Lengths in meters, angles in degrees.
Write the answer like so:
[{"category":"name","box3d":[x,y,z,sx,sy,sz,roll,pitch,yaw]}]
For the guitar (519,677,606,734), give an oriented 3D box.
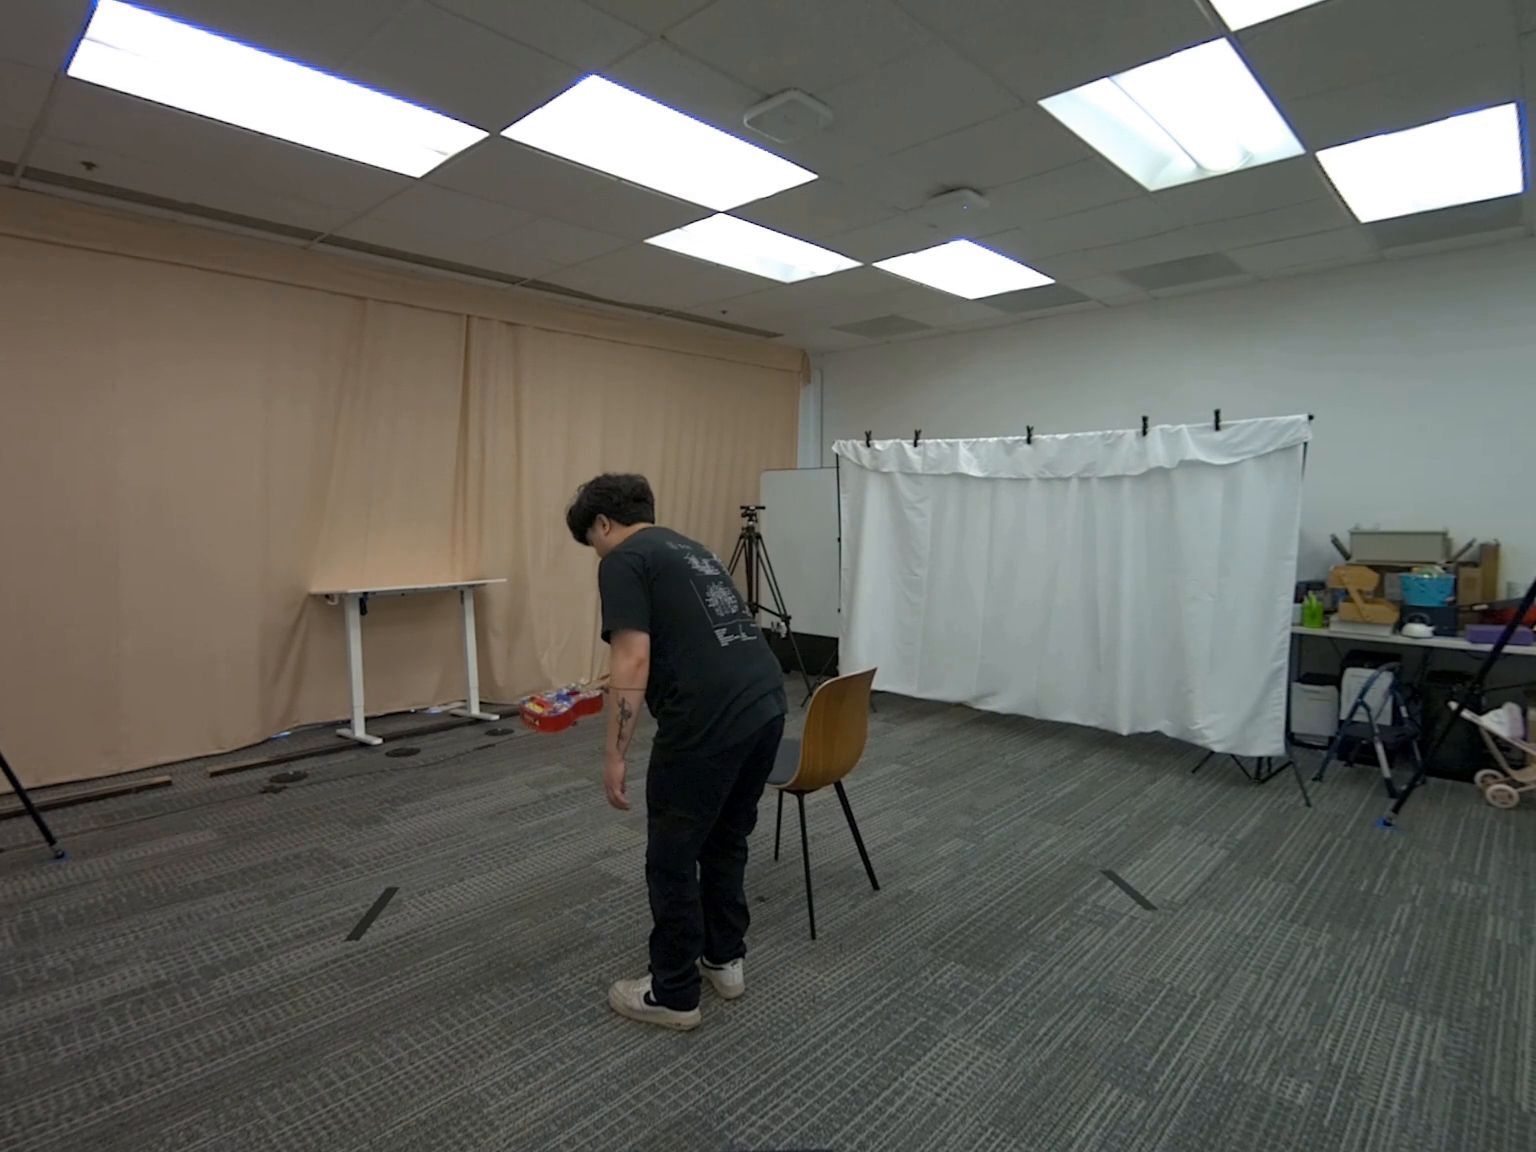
[{"category":"guitar","box3d":[-0.573,0.391,2.792,0.485,0.070,0.200,-13,19,-36]}]
